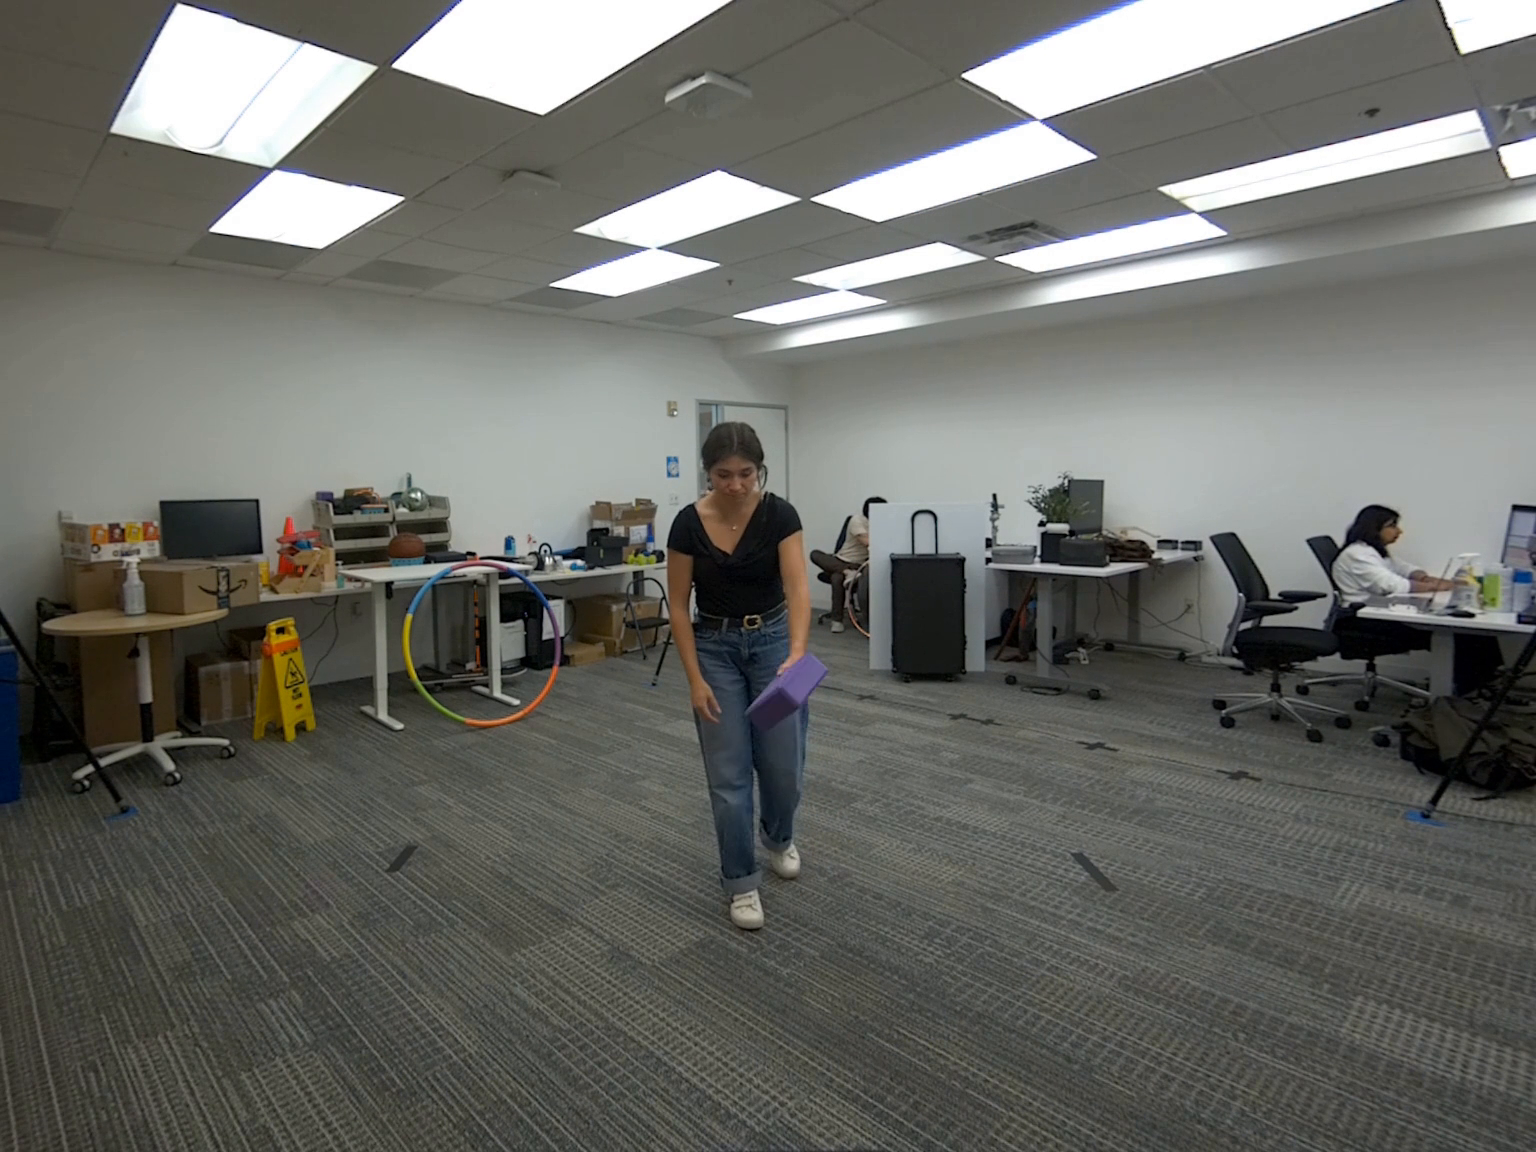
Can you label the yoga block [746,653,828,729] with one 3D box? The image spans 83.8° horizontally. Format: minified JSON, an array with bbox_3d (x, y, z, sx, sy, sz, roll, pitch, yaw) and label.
[{"bbox_3d":[0.046,0.299,2.249,0.148,0.077,0.228,-45,-3,-37],"label":"yoga block"}]
